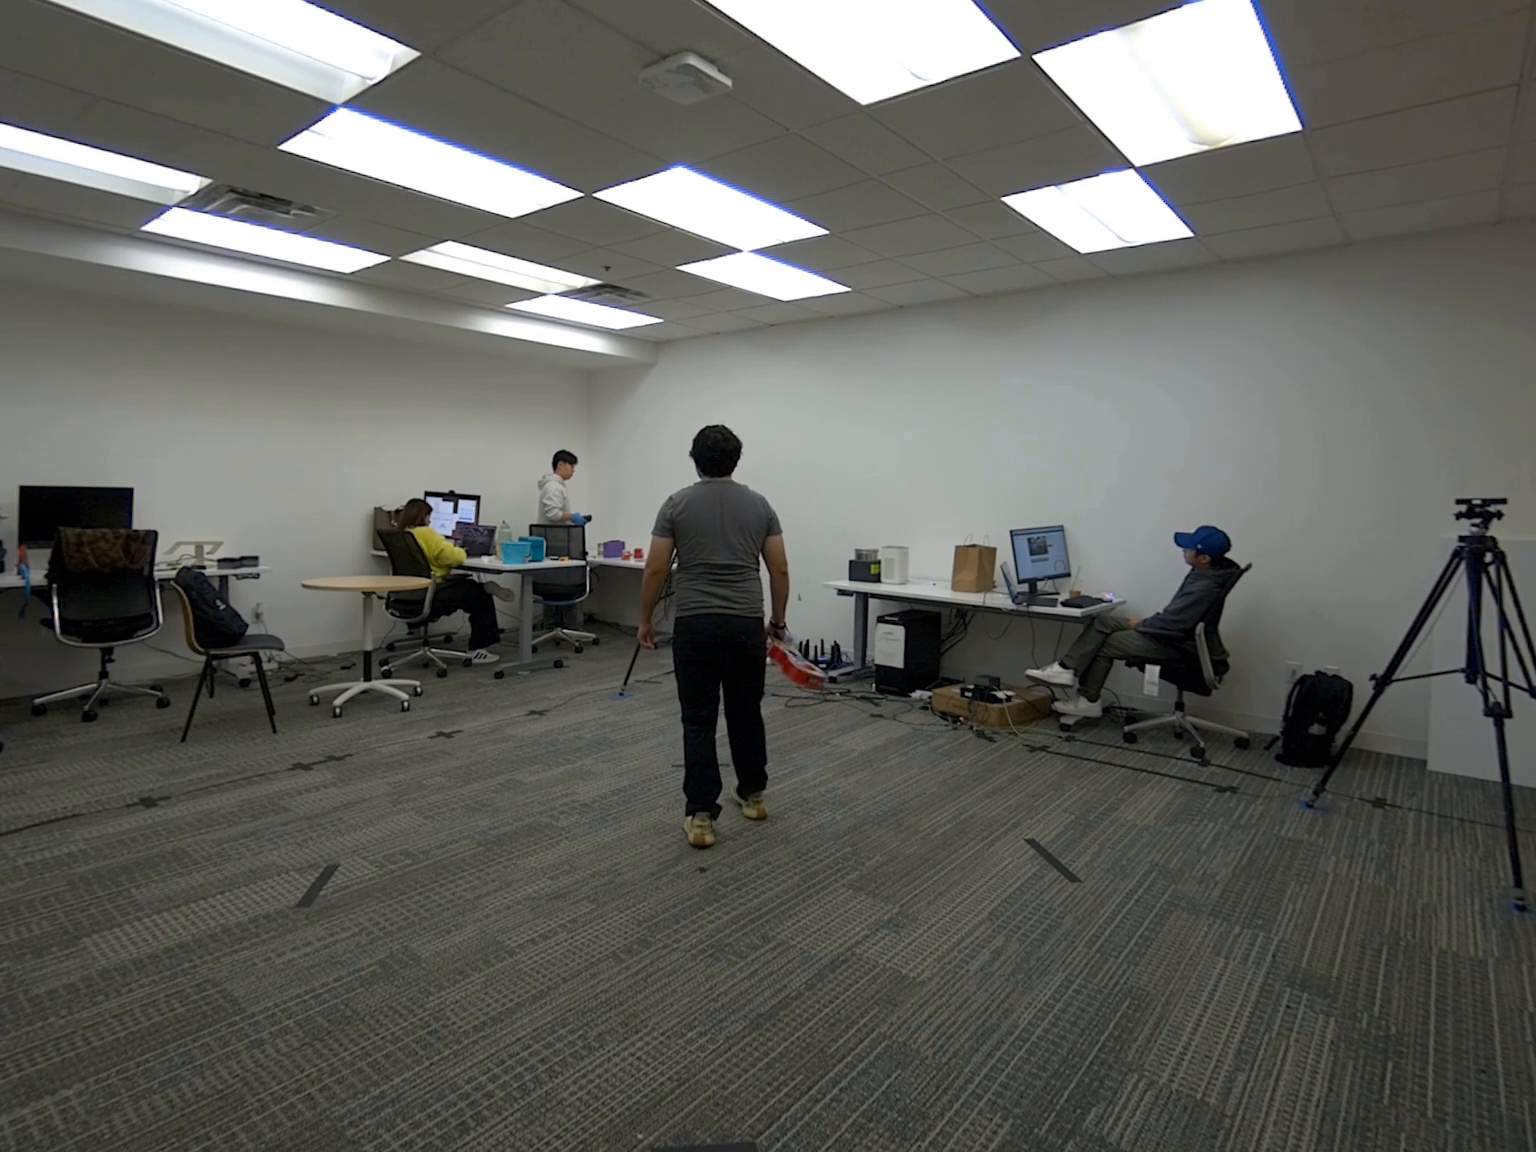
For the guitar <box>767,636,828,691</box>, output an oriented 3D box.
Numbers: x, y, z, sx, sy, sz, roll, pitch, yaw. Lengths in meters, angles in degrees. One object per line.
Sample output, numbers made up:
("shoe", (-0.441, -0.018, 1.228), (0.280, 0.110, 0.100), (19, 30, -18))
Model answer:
("guitar", (0.061, 0.320, 3.627), (0.186, 0.070, 0.518), (23, 12, -34))
